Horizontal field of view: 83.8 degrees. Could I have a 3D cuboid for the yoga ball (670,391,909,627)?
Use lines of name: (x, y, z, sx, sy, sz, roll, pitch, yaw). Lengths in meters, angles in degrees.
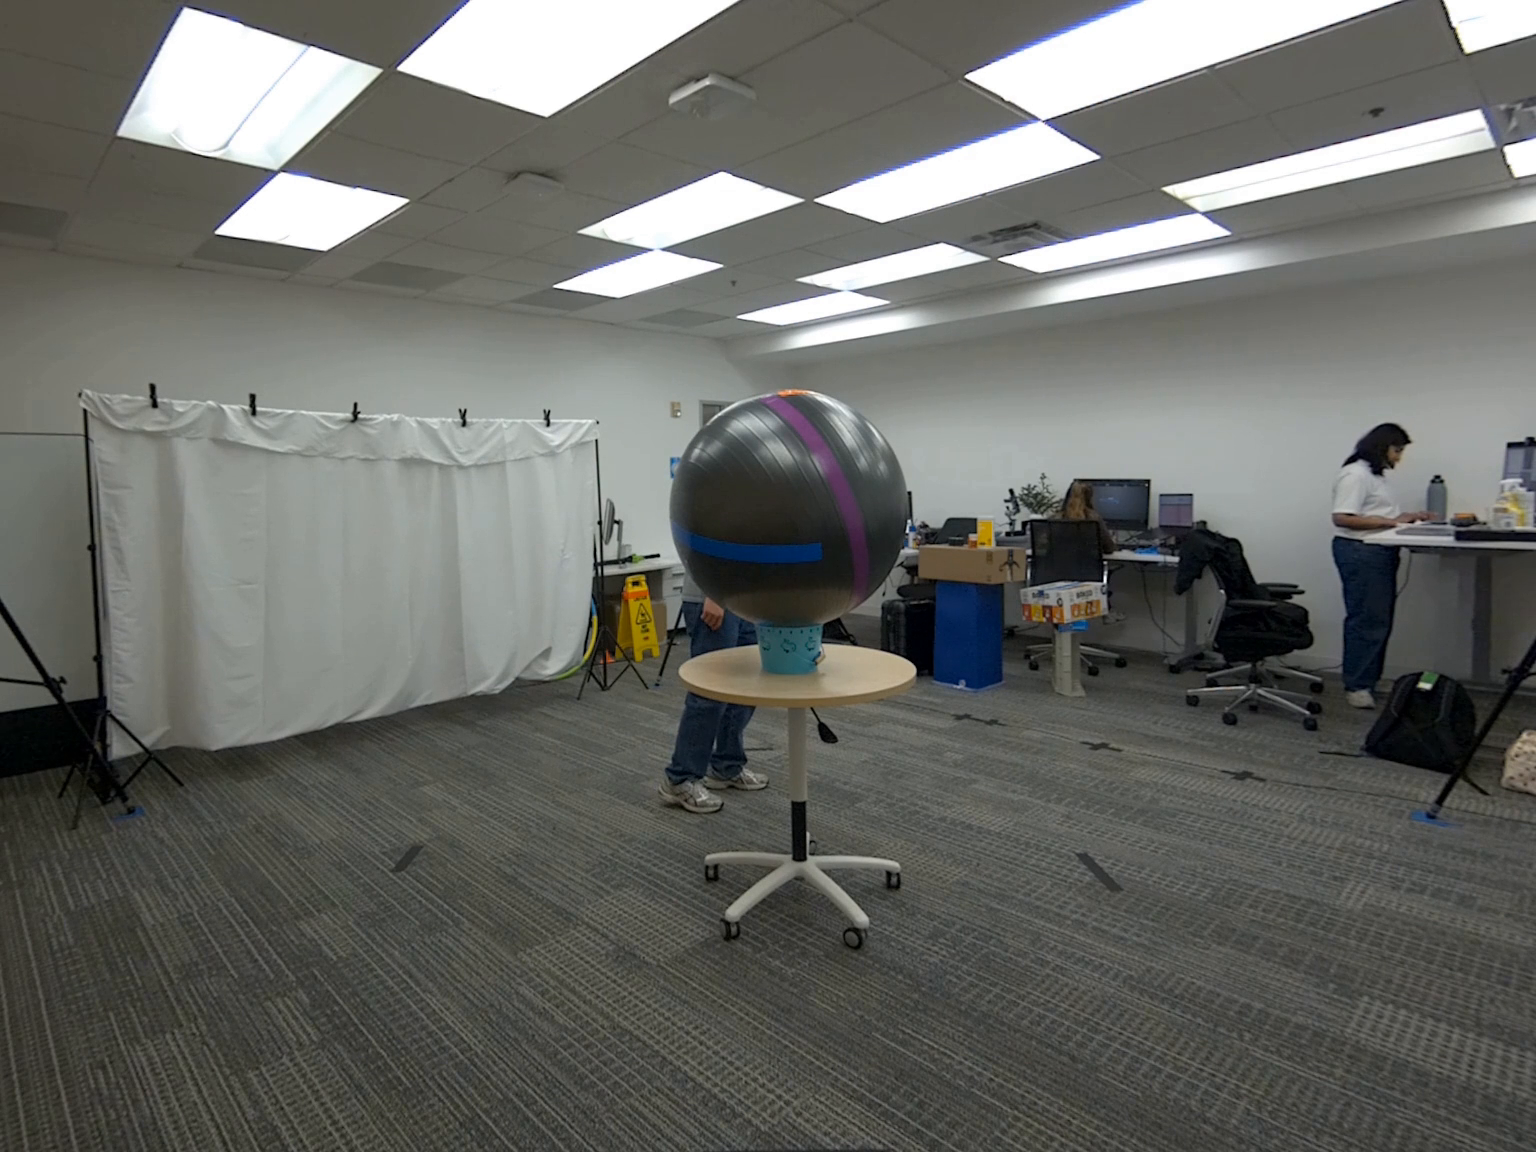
yoga ball: (0.067, -0.208, 2.733, 0.757, 0.755, 0.762, -1, 5, -2)
